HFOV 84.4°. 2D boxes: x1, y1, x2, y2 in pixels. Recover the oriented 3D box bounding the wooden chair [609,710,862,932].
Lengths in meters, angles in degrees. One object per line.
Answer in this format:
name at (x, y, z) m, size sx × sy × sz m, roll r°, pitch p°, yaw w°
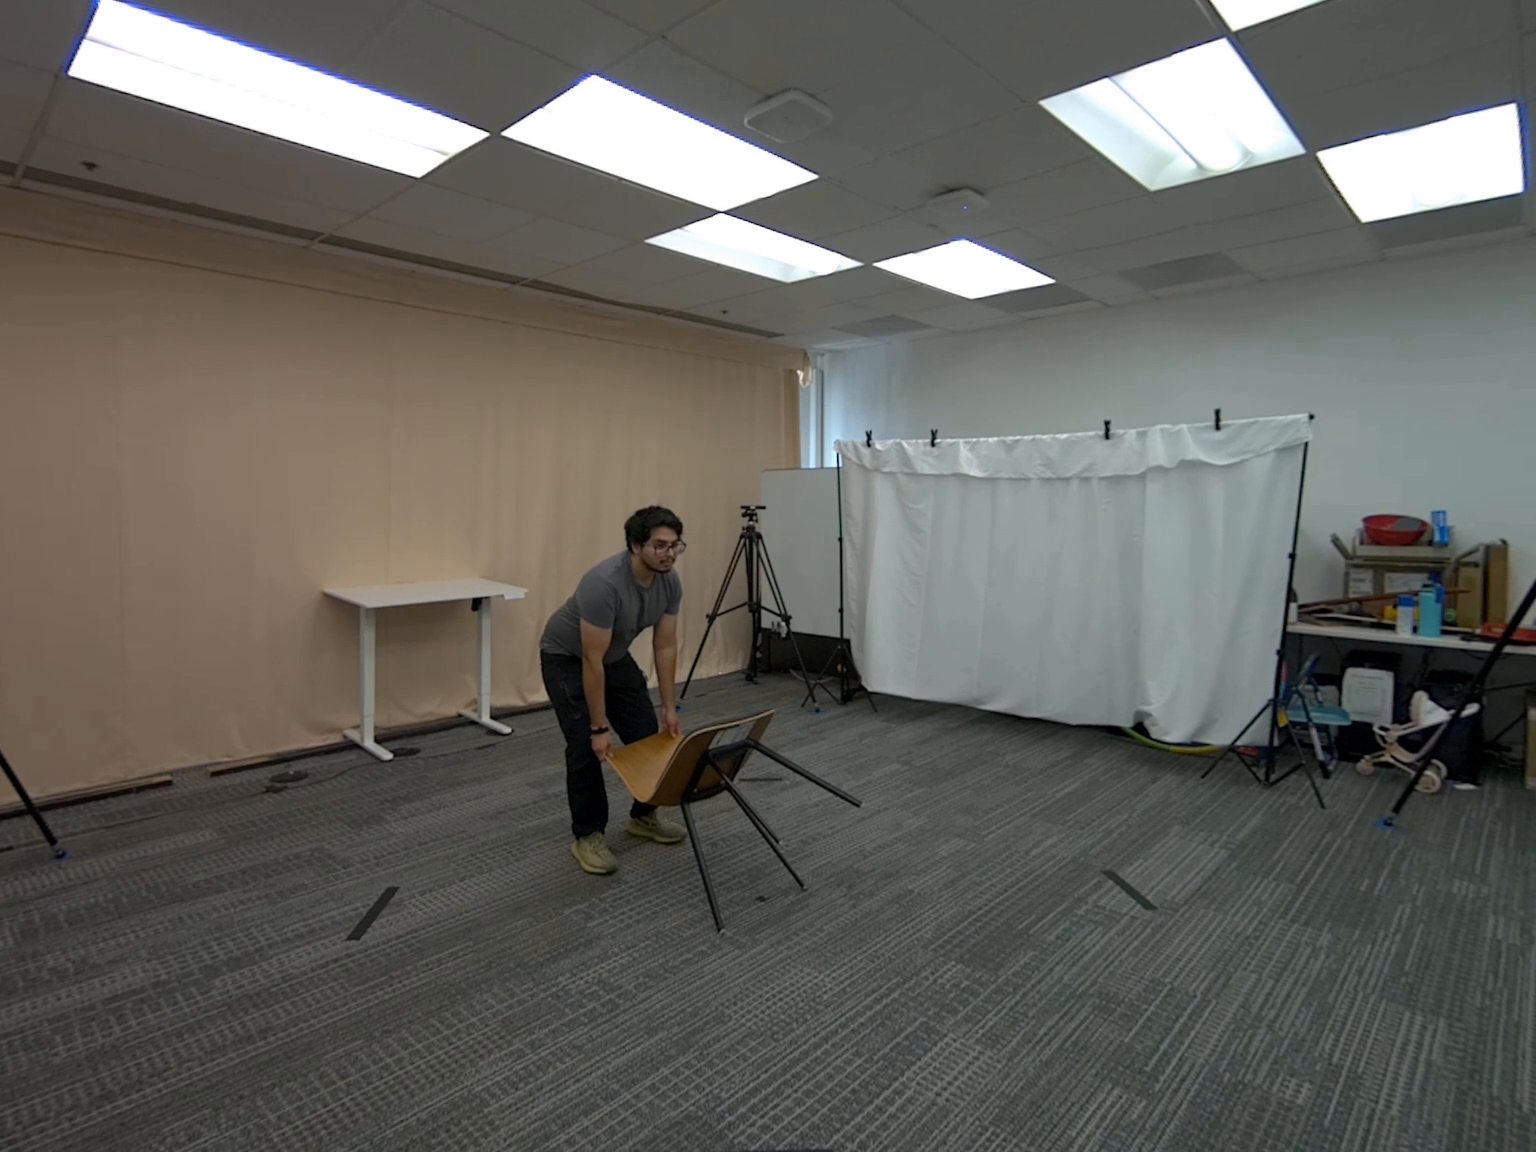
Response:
wooden chair at (-0.177, 0.706, 3.024) m, size 0.463 × 0.521 × 0.907 m, roll -4°, pitch 36°, yaw -48°
